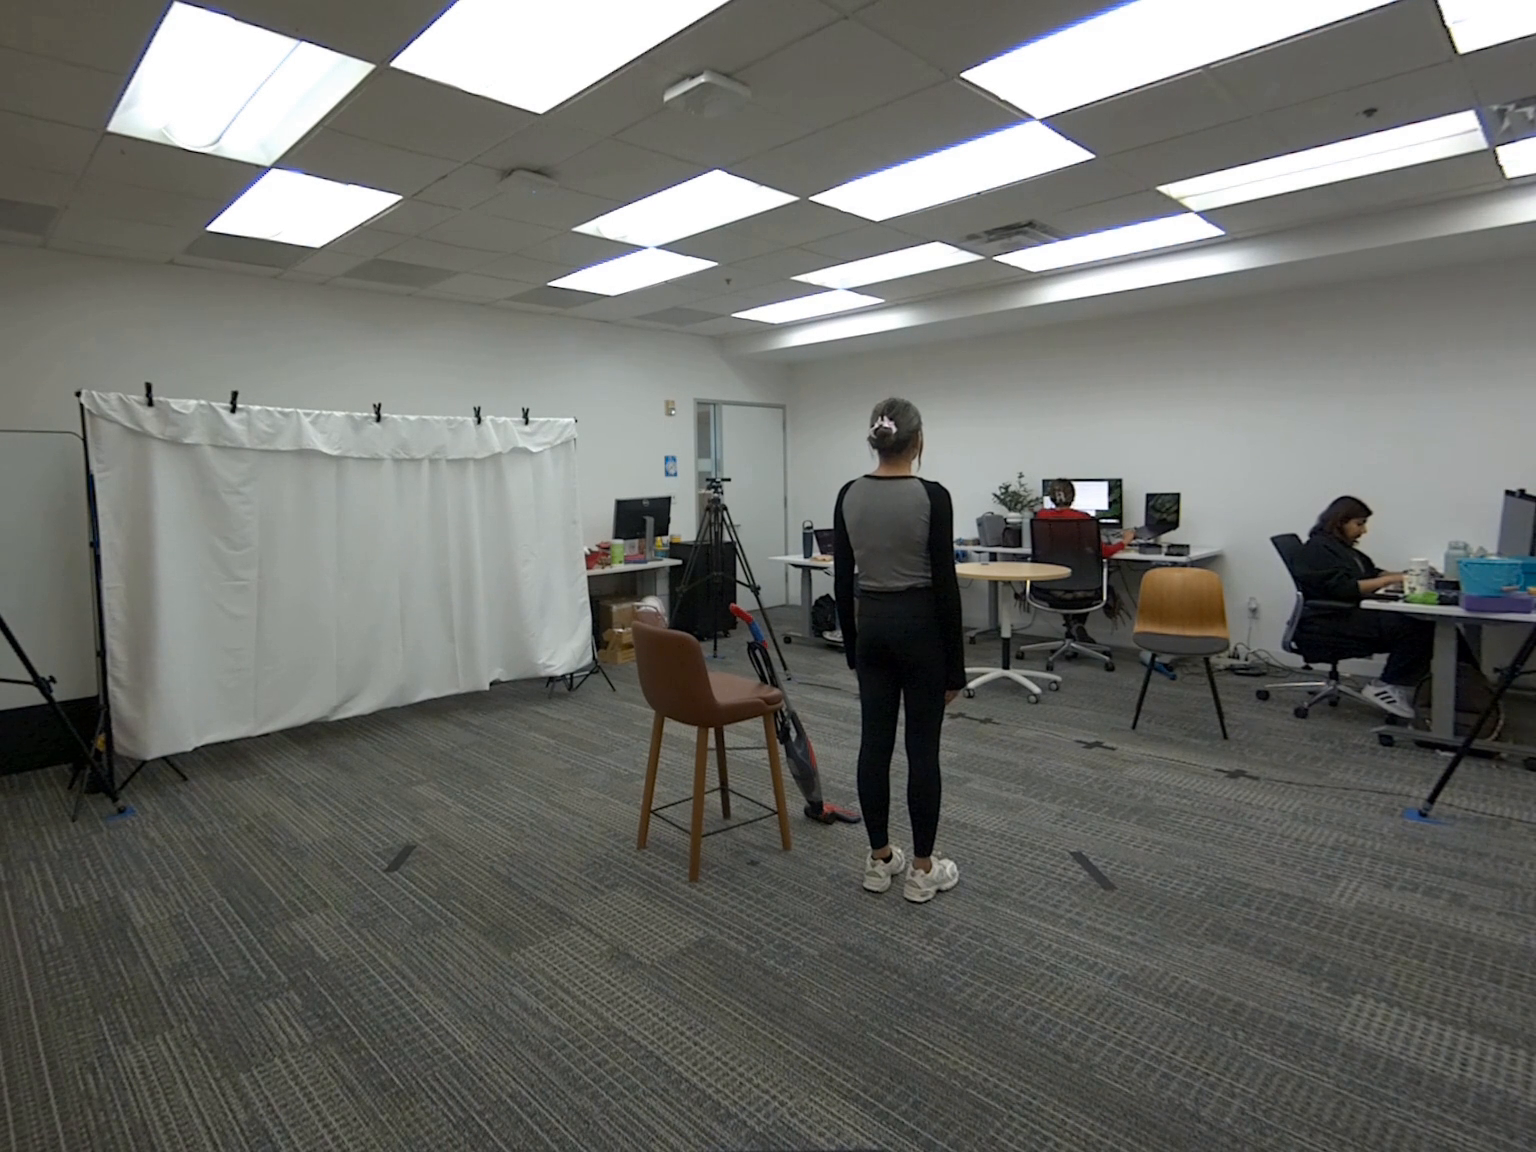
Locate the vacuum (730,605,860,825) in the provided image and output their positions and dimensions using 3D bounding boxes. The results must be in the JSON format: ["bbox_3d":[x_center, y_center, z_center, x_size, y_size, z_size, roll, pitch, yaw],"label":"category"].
[{"bbox_3d":[0.066,0.546,3.333,0.260,1.022,0.143,3,33,45],"label":"vacuum"}]
